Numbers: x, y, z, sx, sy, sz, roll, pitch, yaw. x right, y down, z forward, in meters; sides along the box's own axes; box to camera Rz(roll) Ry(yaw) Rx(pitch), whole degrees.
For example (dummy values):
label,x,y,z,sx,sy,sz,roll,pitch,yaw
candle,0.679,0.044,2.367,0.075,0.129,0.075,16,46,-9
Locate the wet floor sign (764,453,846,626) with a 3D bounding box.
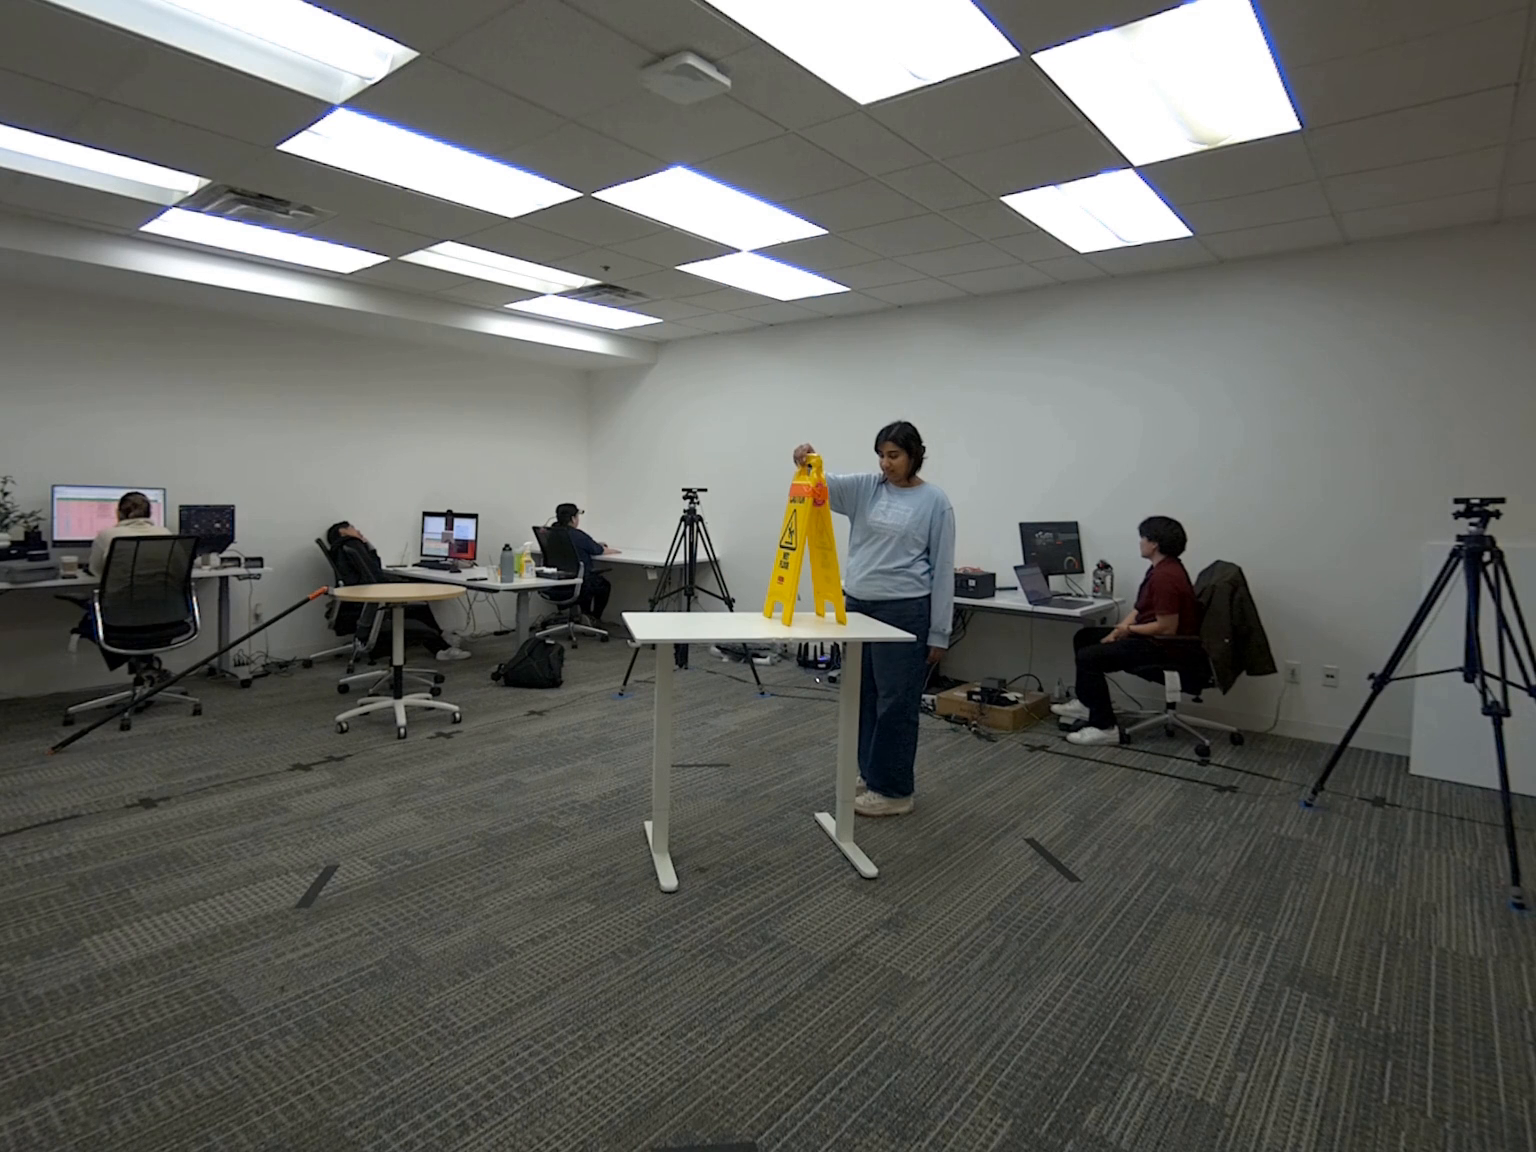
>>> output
label,x,y,z,sx,sy,sz,roll,pitch,yaw
wet floor sign,0.140,-0.153,3.337,0.285,0.644,0.288,0,3,-18
